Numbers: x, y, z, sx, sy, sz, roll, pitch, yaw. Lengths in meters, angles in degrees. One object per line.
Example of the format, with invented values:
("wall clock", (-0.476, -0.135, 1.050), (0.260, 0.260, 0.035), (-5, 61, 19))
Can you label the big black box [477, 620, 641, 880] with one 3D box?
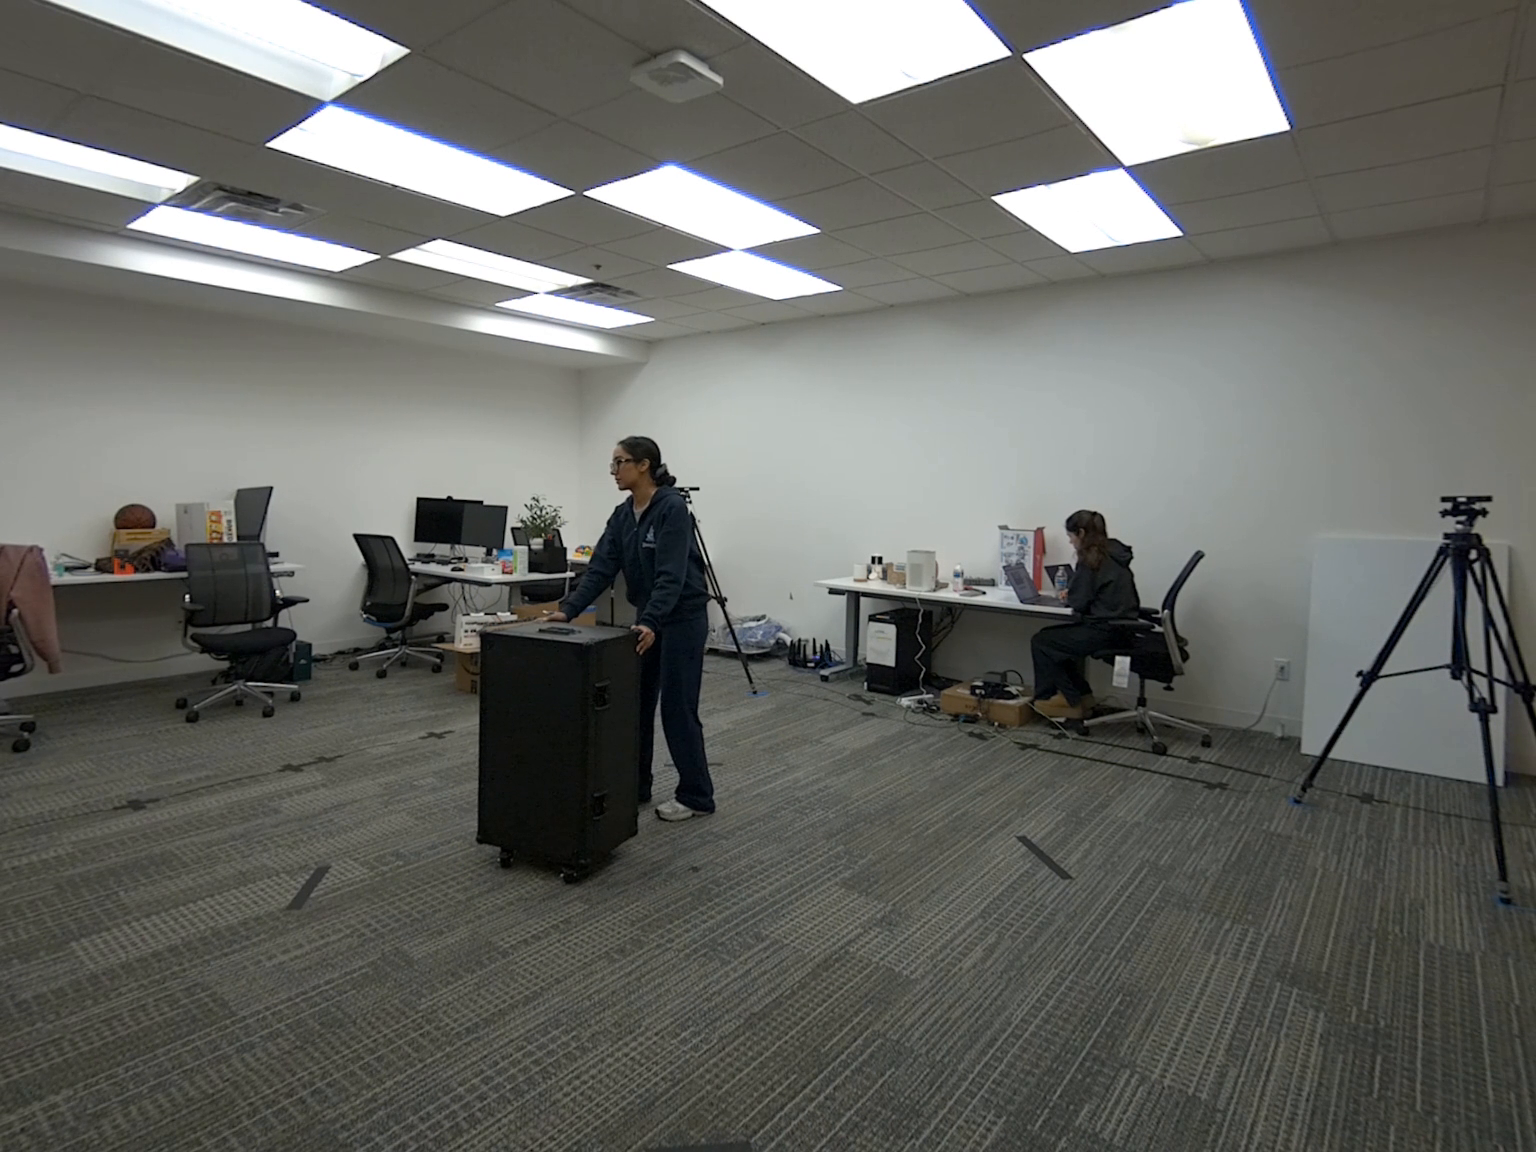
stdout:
("big black box", (-0.791, 0.625, 3.184), (0.535, 0.861, 0.386), (2, 1, 24))
